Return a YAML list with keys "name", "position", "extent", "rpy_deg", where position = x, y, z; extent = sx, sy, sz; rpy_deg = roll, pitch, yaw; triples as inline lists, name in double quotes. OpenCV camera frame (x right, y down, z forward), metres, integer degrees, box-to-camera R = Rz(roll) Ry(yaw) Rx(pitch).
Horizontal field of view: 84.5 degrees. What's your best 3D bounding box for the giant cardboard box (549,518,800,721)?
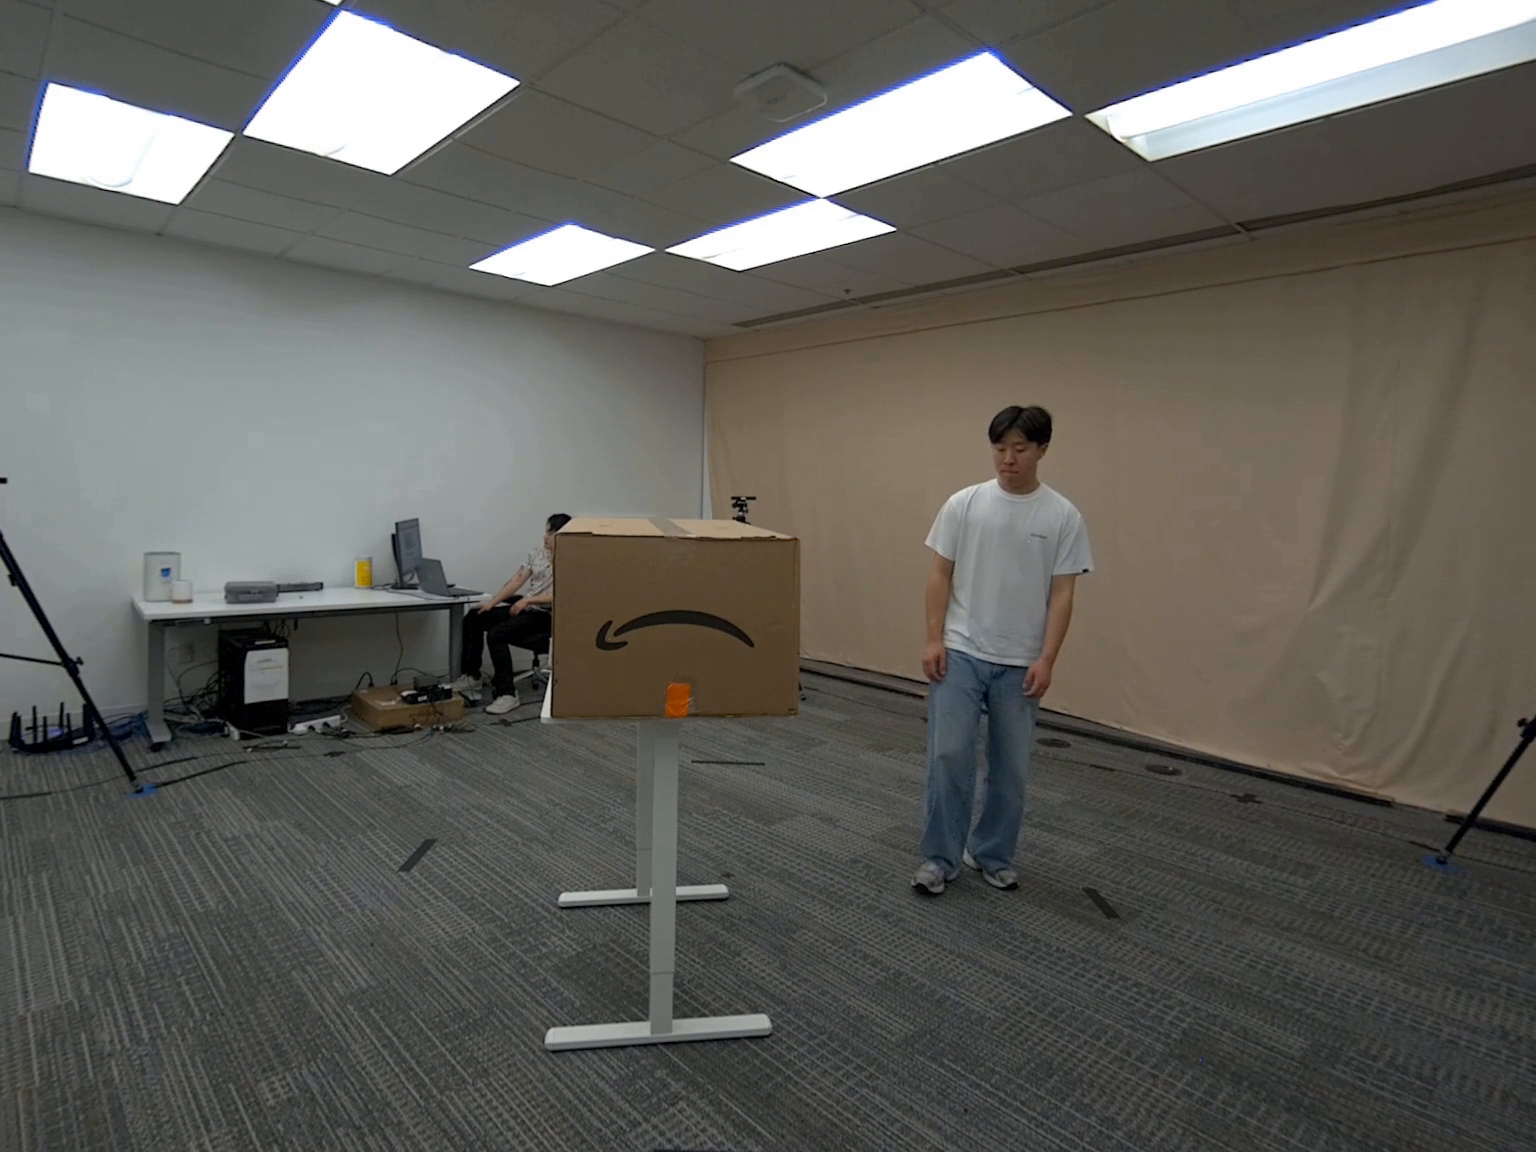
- name: "giant cardboard box"
  position: [-0.304, 0.071, 2.446]
  extent: [0.573, 0.425, 1.037]
  rpy_deg: [1, 6, -10]
